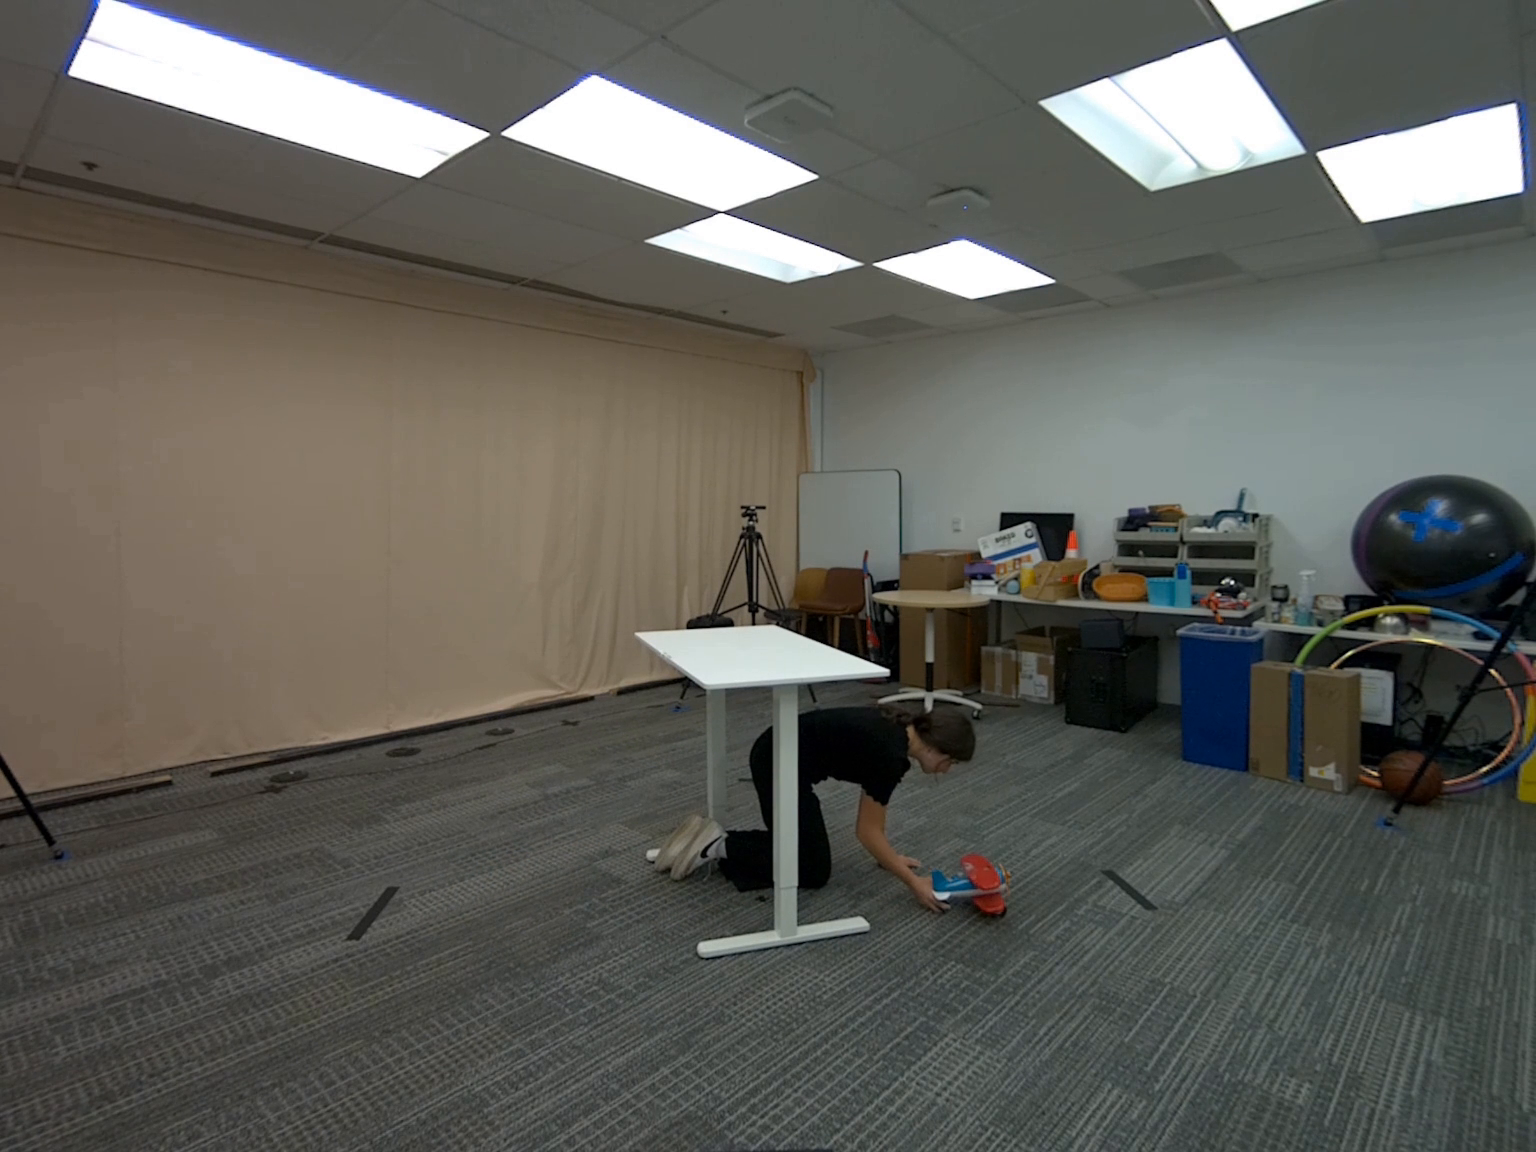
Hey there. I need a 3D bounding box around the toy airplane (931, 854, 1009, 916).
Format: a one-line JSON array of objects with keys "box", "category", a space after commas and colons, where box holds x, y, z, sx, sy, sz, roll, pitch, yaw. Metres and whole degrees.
[{"box": [0.710, 1.074, 2.861, 0.252, 0.156, 0.258, 2, 4, -30], "category": "toy airplane"}]
